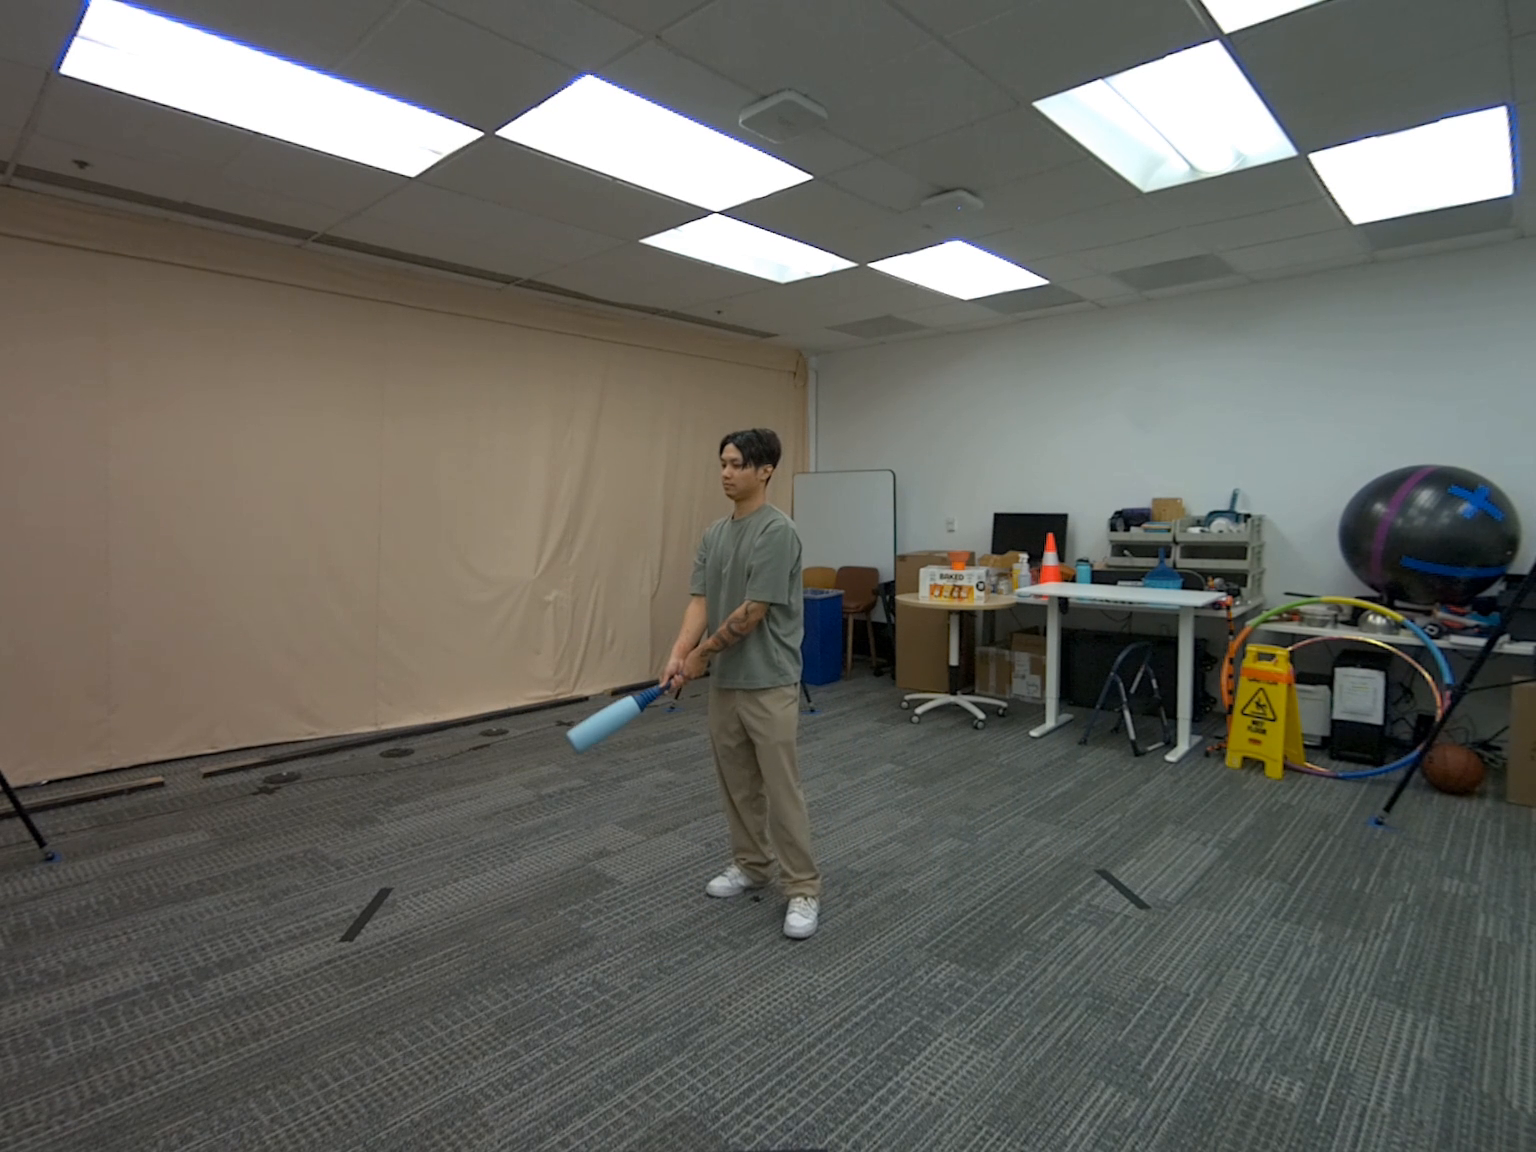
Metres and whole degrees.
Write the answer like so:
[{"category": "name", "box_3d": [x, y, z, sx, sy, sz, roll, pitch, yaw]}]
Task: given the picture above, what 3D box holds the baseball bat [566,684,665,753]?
[{"category": "baseball bat", "box_3d": [-0.430, 0.411, 2.828, 0.537, 0.088, 0.091, -29, 14, -17]}]
